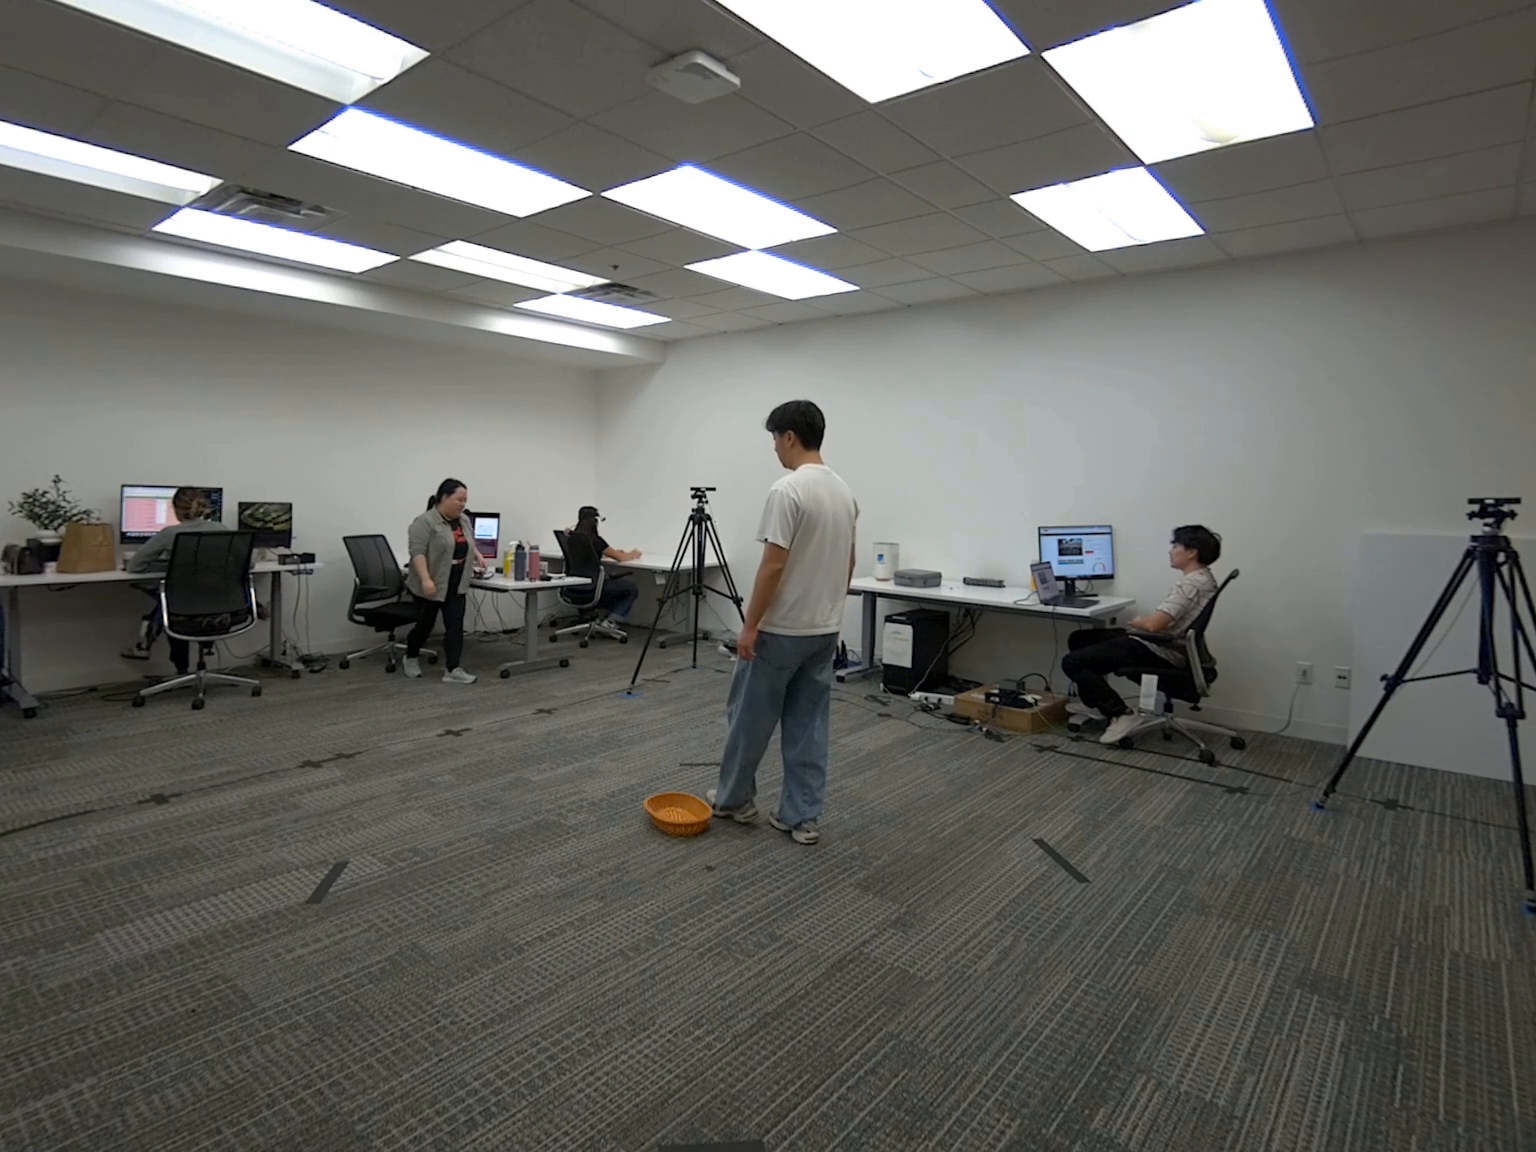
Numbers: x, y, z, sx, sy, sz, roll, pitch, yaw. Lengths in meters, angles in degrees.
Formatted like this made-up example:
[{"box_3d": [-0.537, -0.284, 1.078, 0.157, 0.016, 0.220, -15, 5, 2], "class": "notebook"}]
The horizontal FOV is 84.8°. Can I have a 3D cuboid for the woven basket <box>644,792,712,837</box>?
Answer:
[{"box_3d": [-0.396, 0.982, 3.522, 0.246, 0.073, 0.360, -3, 7, -27], "class": "woven basket"}]
